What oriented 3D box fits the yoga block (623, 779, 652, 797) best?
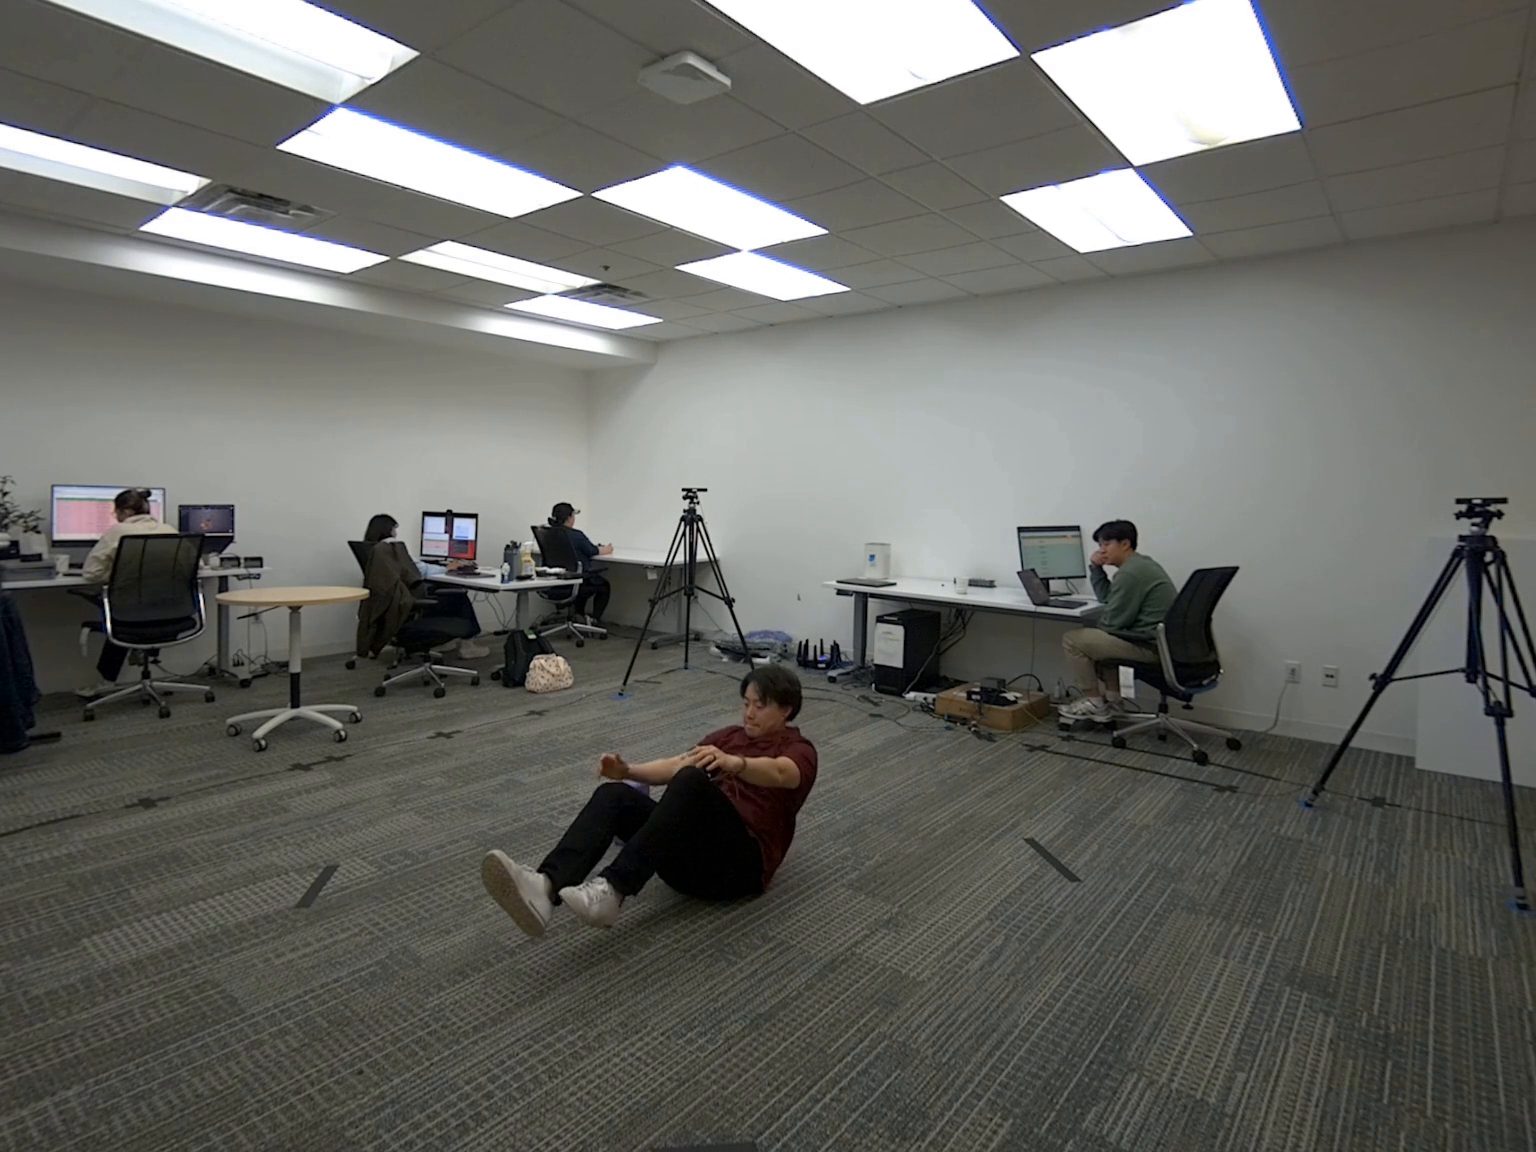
[{"bbox_3d":[-0.546,0.919,3.356,0.078,0.229,0.145,1,2,28],"label":"yoga block"}]
